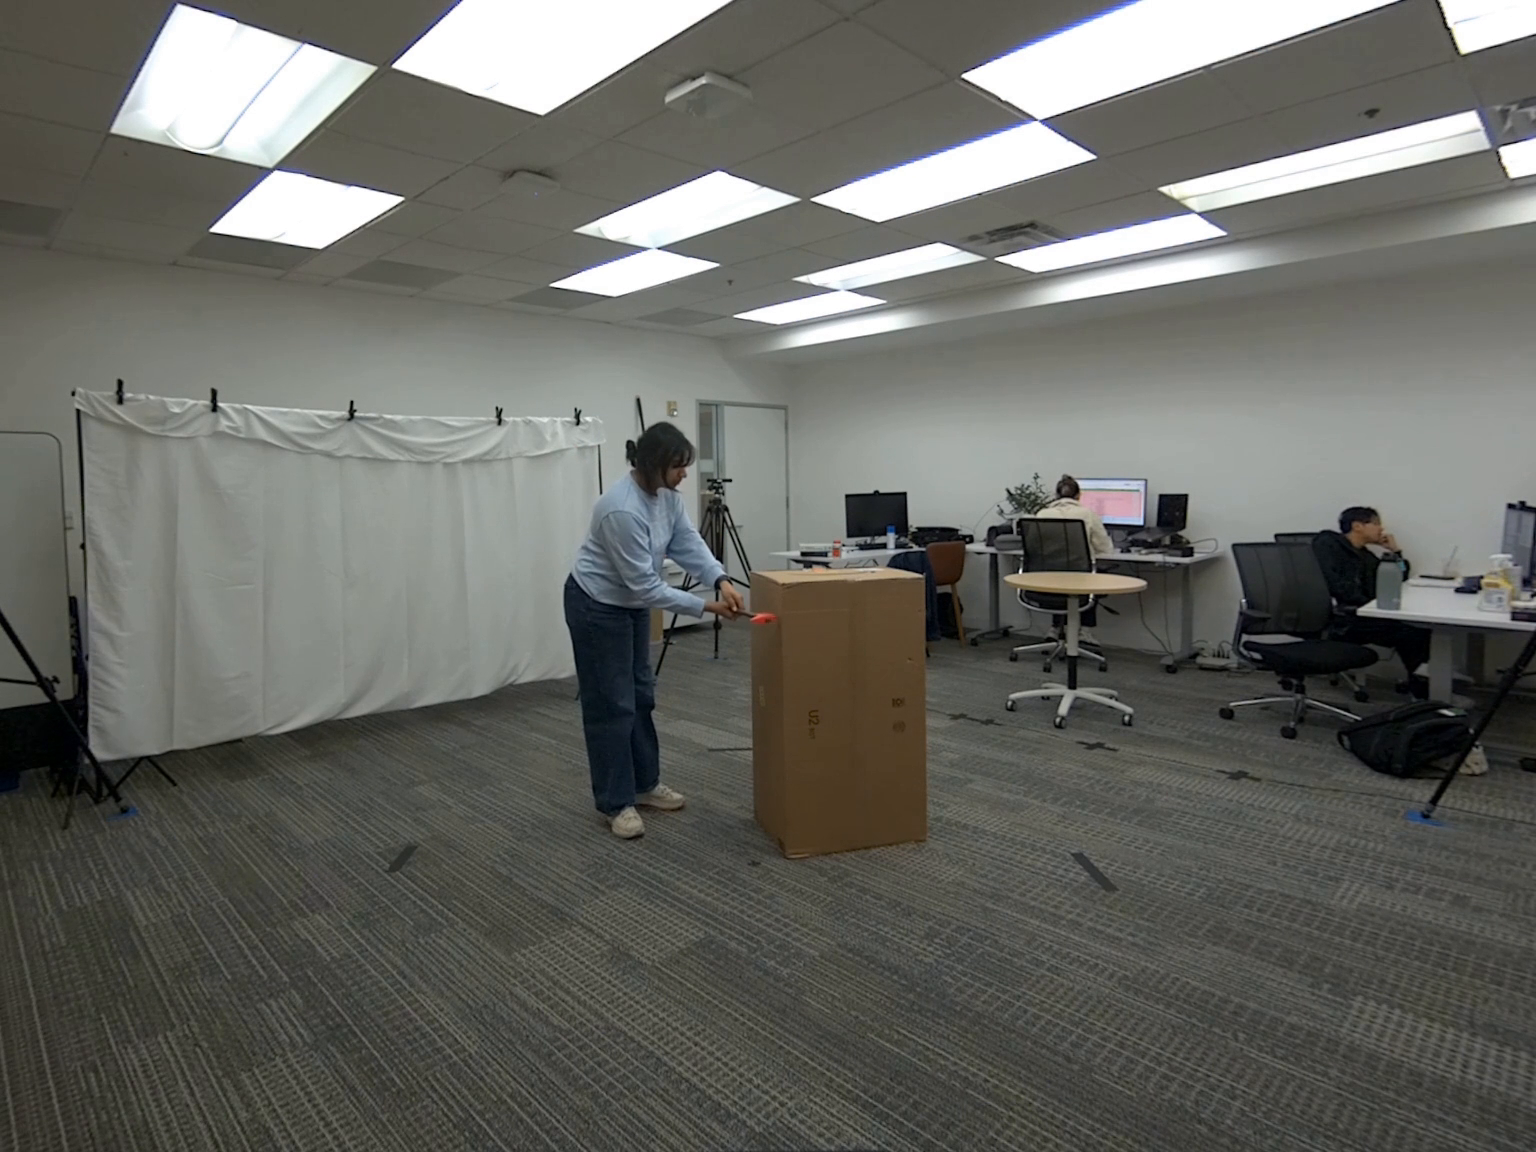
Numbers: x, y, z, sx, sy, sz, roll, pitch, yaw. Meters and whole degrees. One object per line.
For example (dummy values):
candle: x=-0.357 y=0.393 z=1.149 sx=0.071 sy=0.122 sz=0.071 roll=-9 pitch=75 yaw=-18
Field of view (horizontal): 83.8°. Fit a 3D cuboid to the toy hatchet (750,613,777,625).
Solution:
toy hatchet: x=-0.067 y=0.136 z=3.144 sx=0.128 sy=0.029 sz=0.279 roll=-5 pitch=13 yaw=-32
